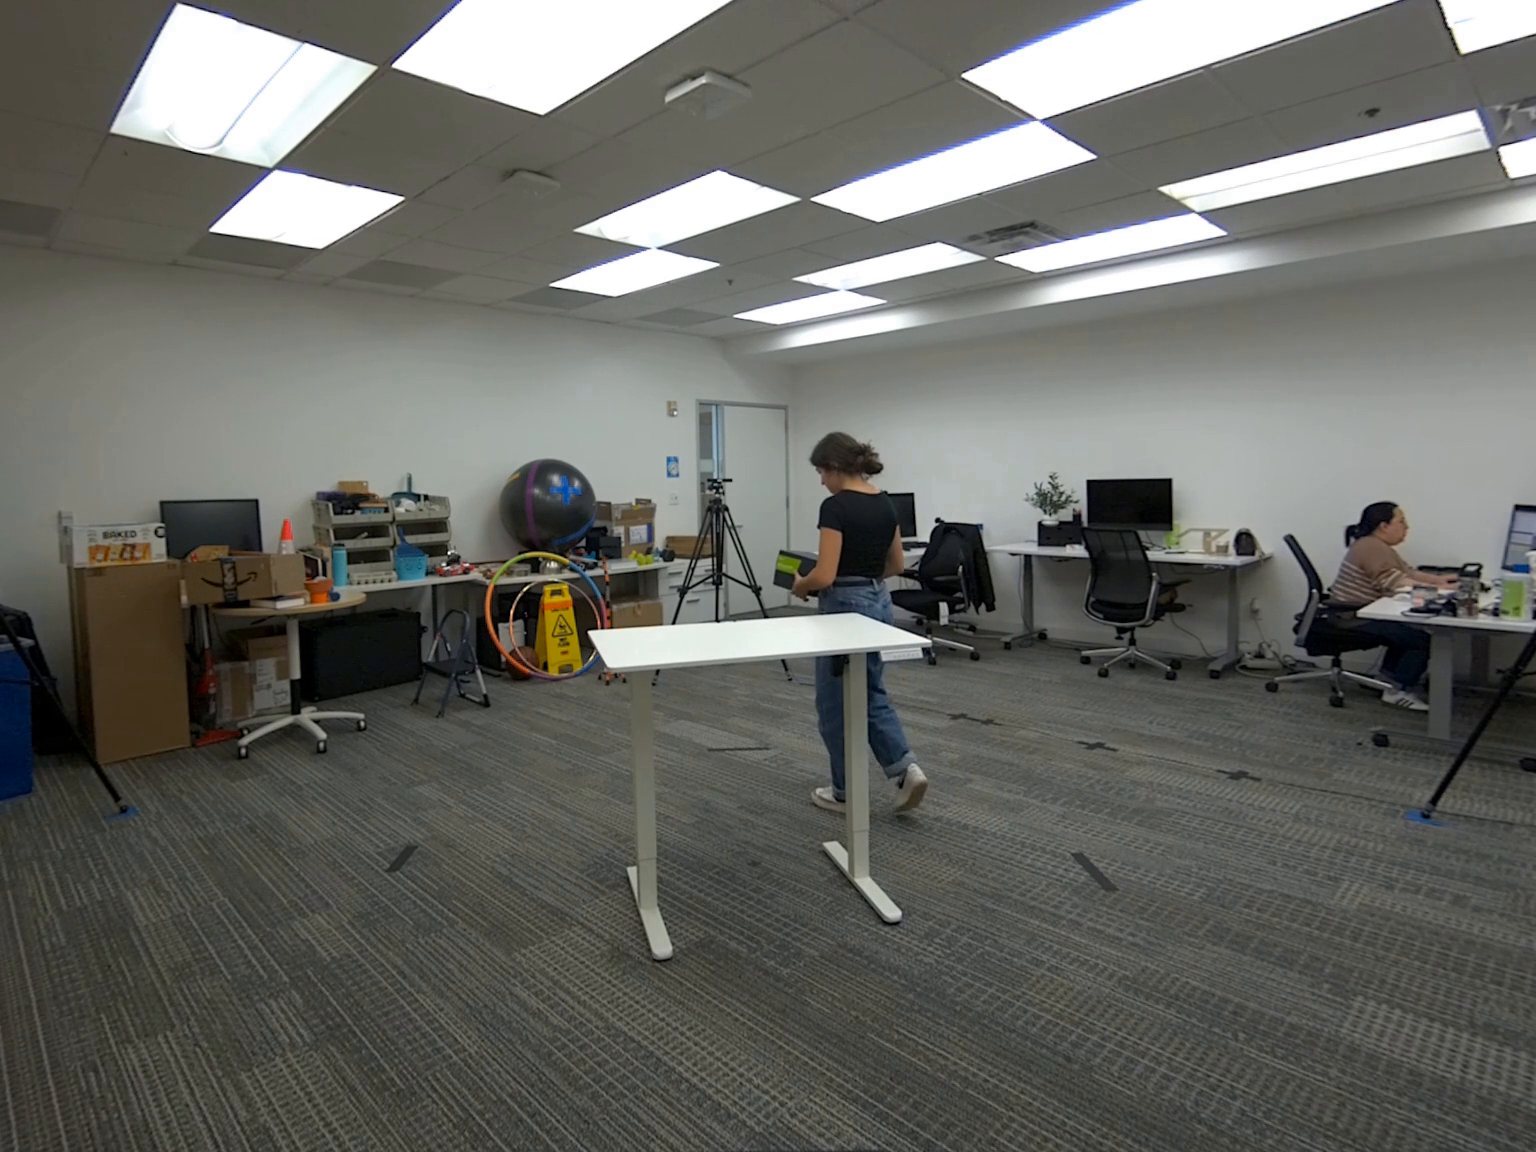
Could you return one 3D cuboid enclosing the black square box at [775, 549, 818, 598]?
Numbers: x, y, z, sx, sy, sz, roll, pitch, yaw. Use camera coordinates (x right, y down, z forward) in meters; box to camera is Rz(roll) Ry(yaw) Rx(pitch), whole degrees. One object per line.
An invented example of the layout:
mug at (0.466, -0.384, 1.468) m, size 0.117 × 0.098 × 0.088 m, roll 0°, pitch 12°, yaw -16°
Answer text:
black square box at (0.197, -0.012, 3.702) m, size 0.236 × 0.155 × 0.210 m, roll 16°, pitch 8°, yaw 40°
